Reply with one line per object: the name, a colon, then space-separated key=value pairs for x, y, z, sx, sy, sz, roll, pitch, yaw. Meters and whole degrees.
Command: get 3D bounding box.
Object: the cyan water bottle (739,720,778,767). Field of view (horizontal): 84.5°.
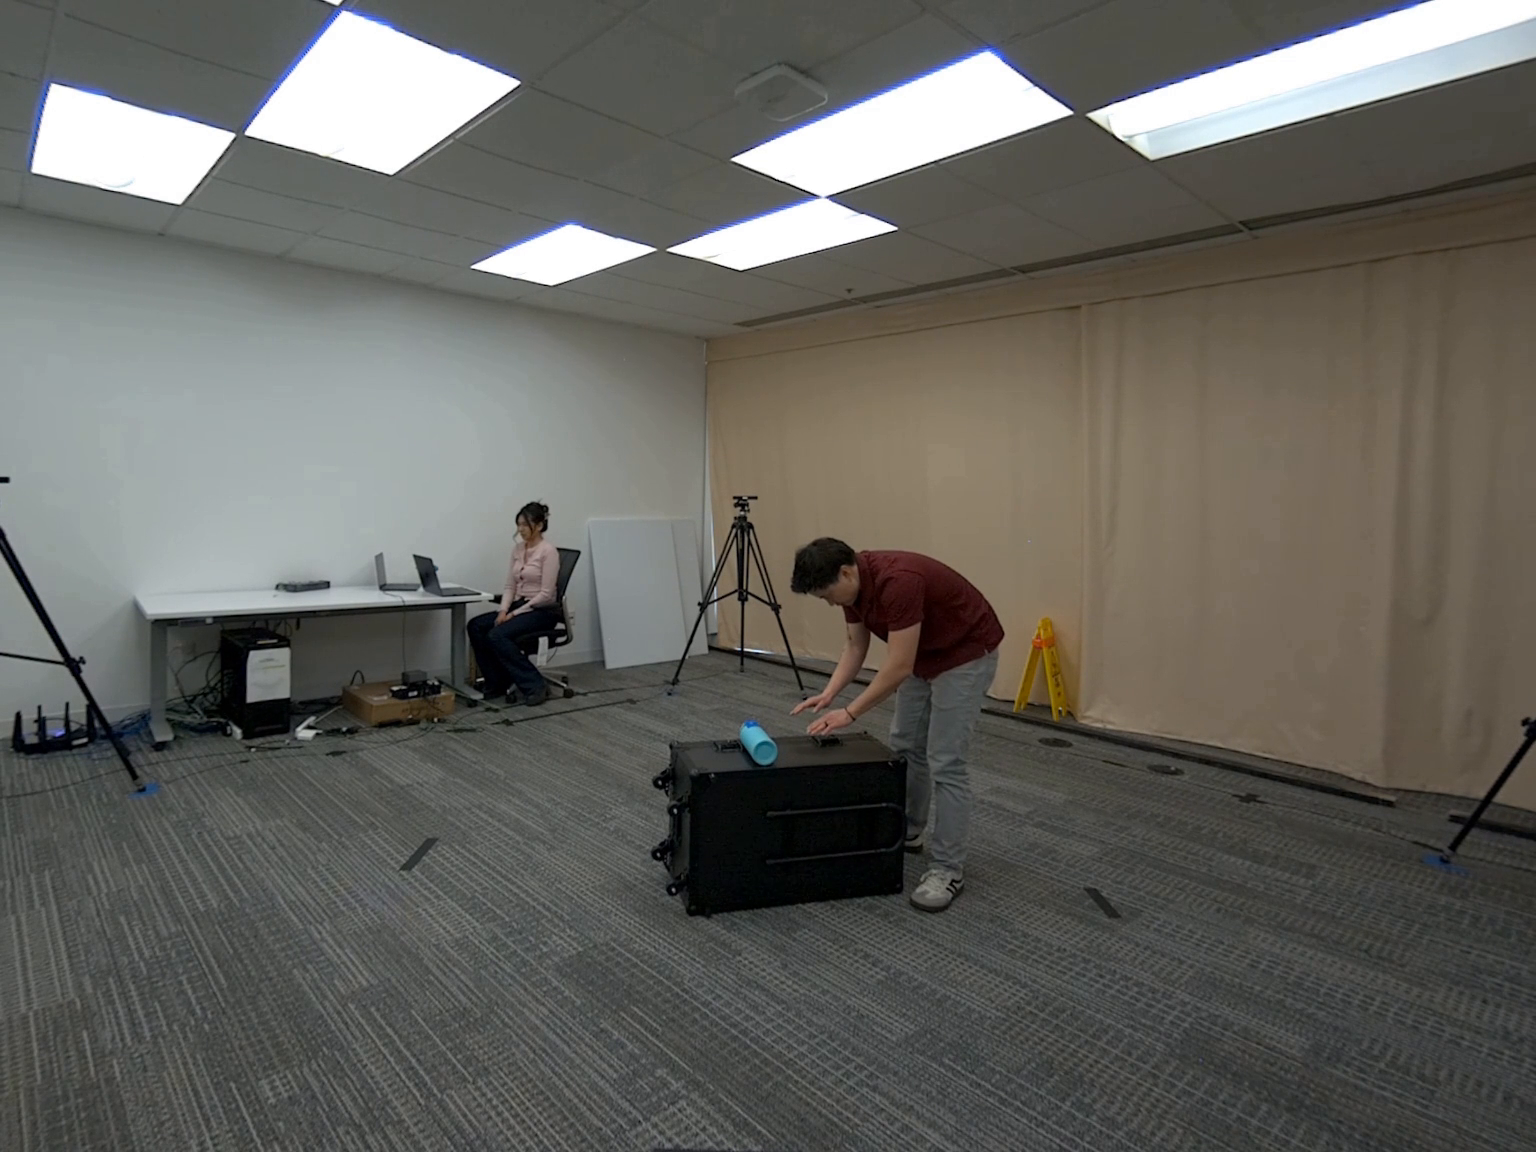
cyan water bottle: x=-0.041 y=0.585 z=2.985 sx=0.092 sy=0.092 sz=0.286 roll=1 pitch=6 yaw=-8
